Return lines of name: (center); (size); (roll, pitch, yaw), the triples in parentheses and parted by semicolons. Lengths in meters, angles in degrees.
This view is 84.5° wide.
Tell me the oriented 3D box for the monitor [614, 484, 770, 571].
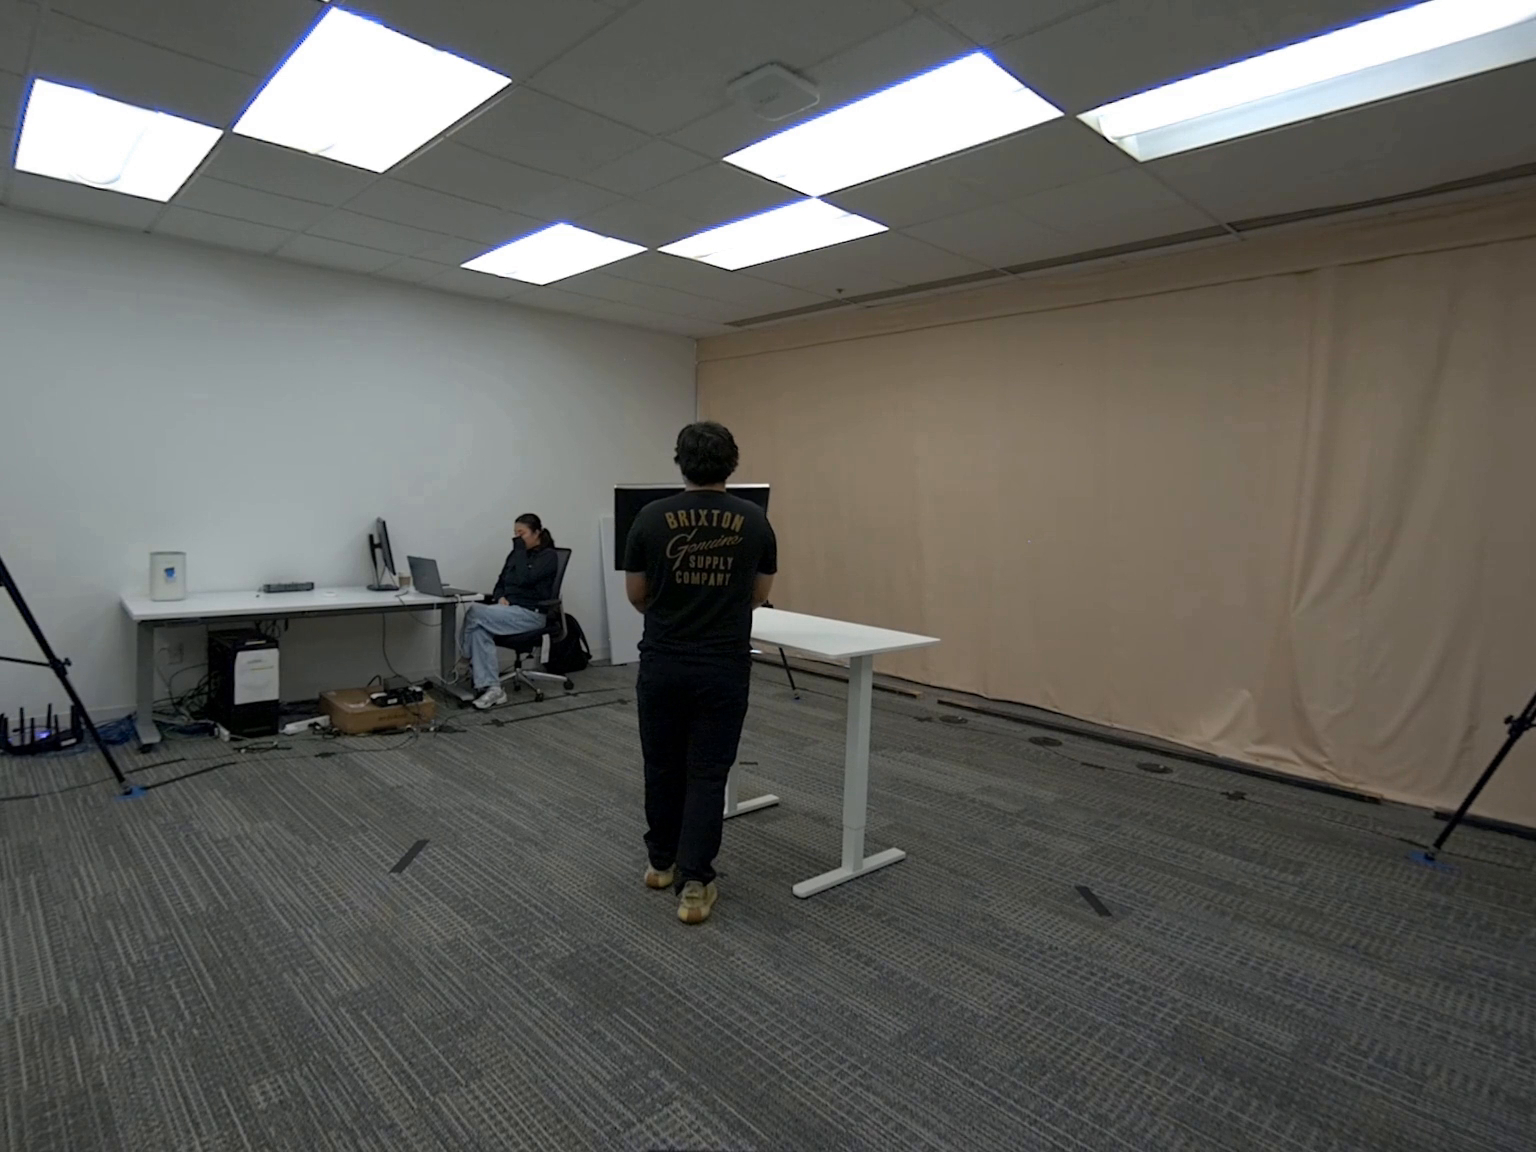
monitor: (-0.279, -0.060, 3.060); (0.561, 0.545, 0.215); (0, 27, -10)
